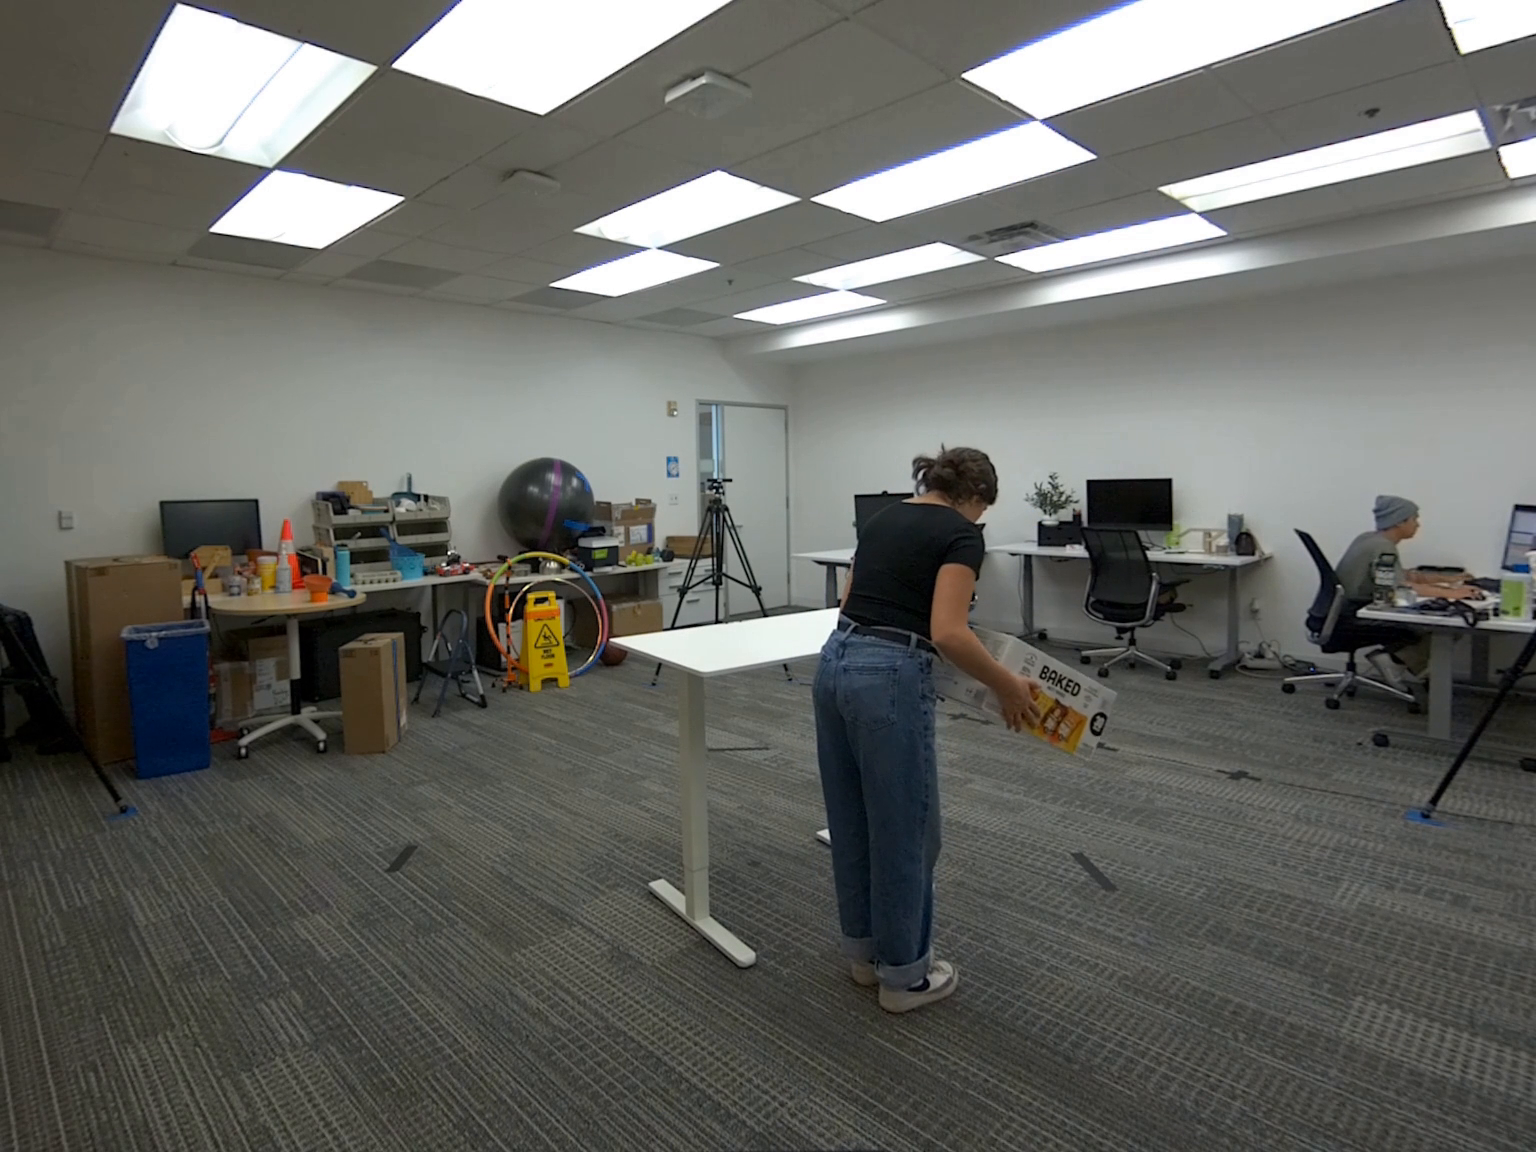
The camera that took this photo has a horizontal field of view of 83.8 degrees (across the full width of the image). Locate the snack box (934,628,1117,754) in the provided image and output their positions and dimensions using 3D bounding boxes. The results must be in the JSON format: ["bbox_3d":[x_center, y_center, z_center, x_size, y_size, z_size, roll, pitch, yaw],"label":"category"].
[{"bbox_3d":[0.665,0.301,2.352,0.394,0.206,0.349,27,-5,-24],"label":"snack box"}]
